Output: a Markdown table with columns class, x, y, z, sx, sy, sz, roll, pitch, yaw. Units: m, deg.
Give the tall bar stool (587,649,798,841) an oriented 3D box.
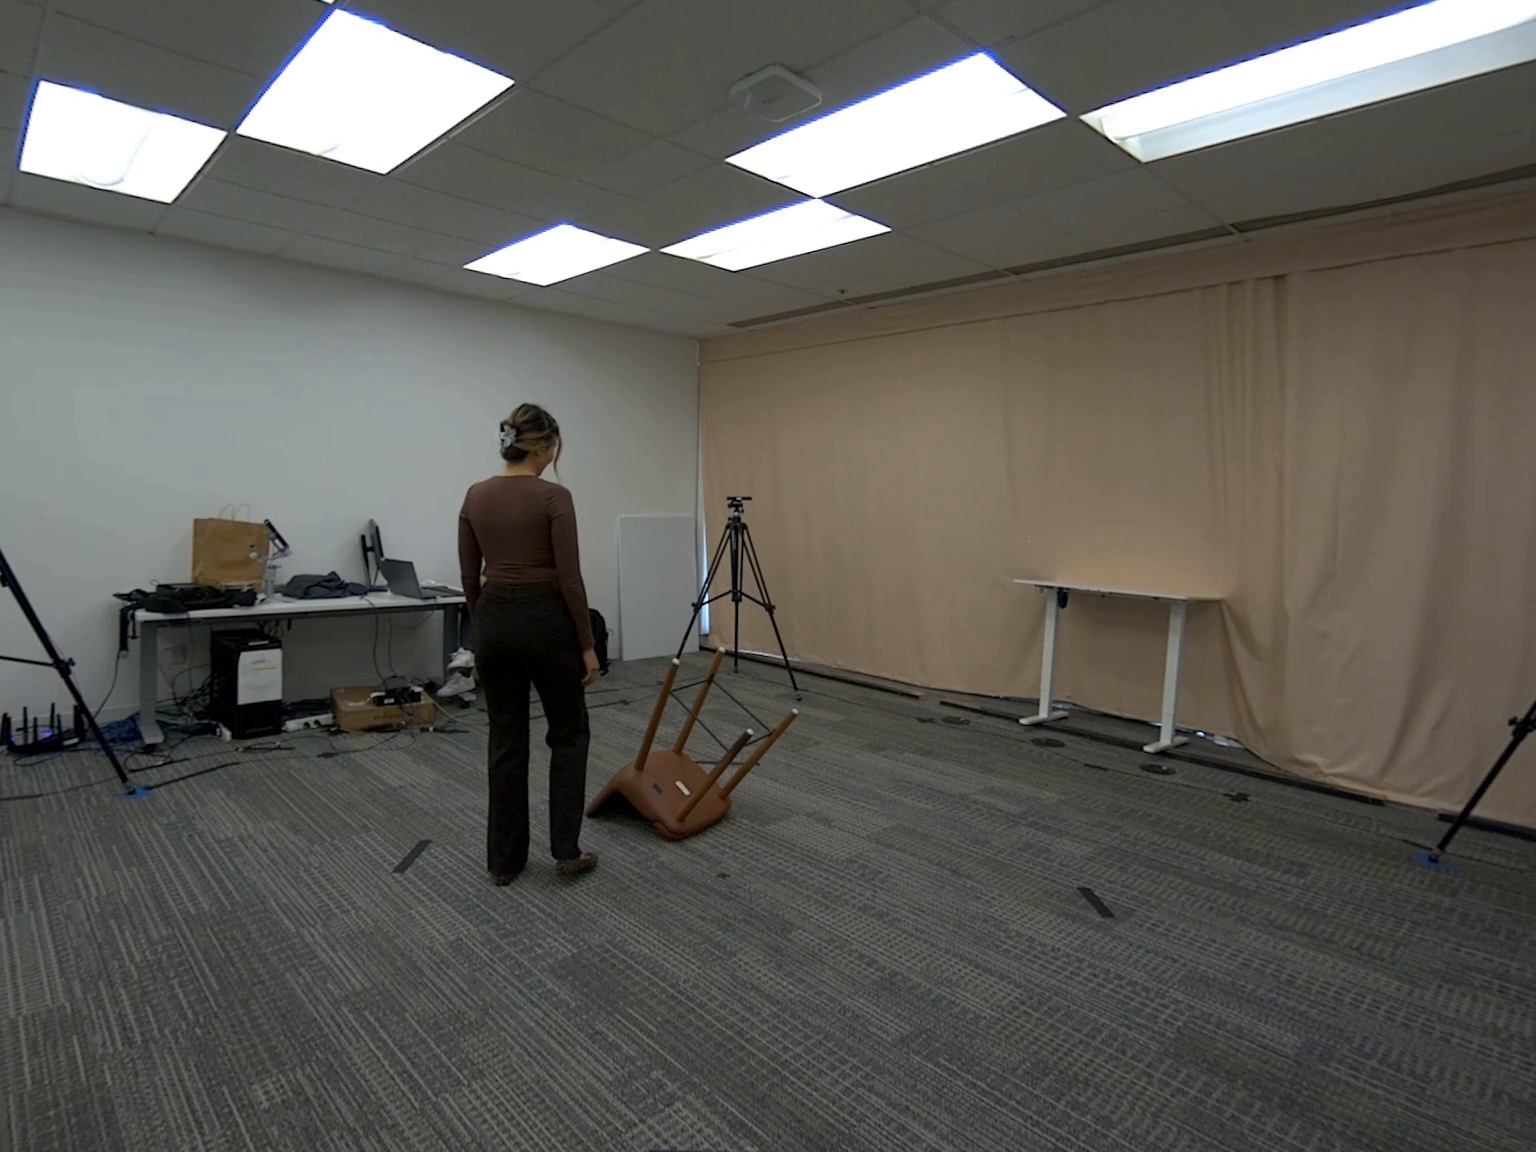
| class | x | y | z | sx | sy | sz | roll | pitch | yaw |
| --- | --- | --- | --- | --- | --- | --- | --- | --- | --- |
| tall bar stool | -0.355 | 0.807 | 3.588 | 0.479 | 0.886 | 0.447 | 41 | 21 | 22 |
